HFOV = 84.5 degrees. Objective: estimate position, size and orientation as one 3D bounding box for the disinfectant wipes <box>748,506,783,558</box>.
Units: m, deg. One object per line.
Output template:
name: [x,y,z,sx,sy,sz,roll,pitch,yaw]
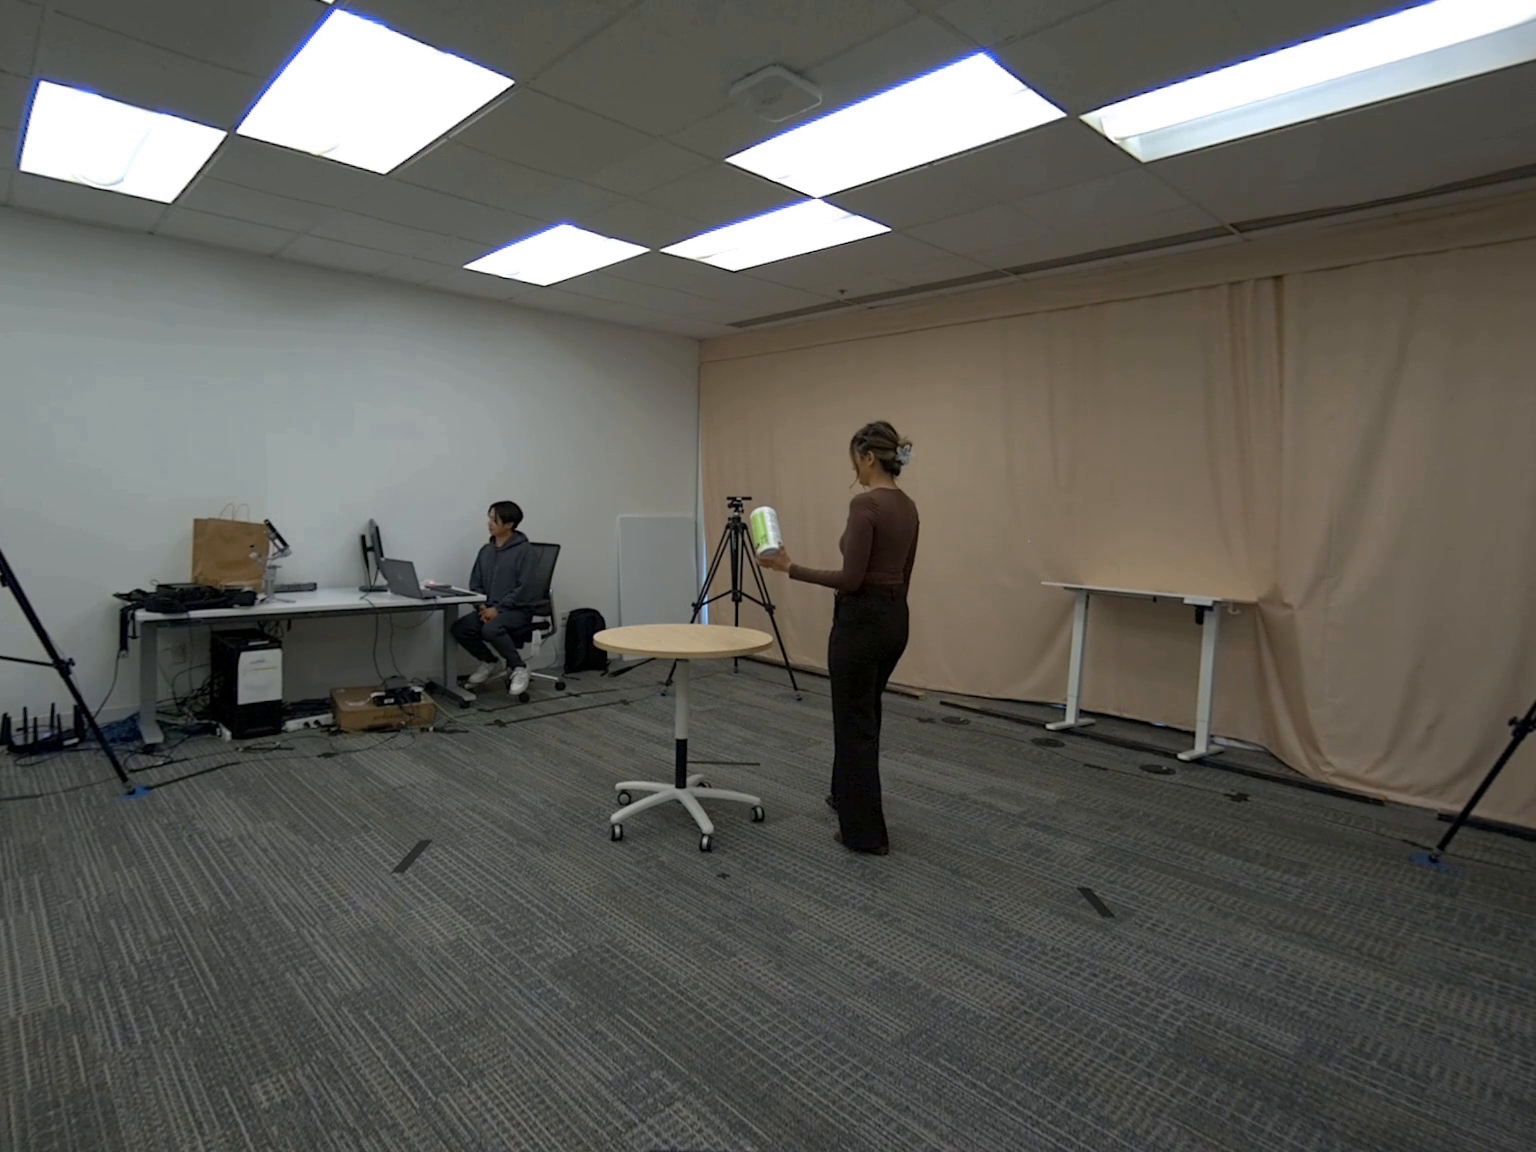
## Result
disinfectant wipes: [-0.004,-0.160,3.377,0.117,0.223,0.115,-6,-35,-5]
